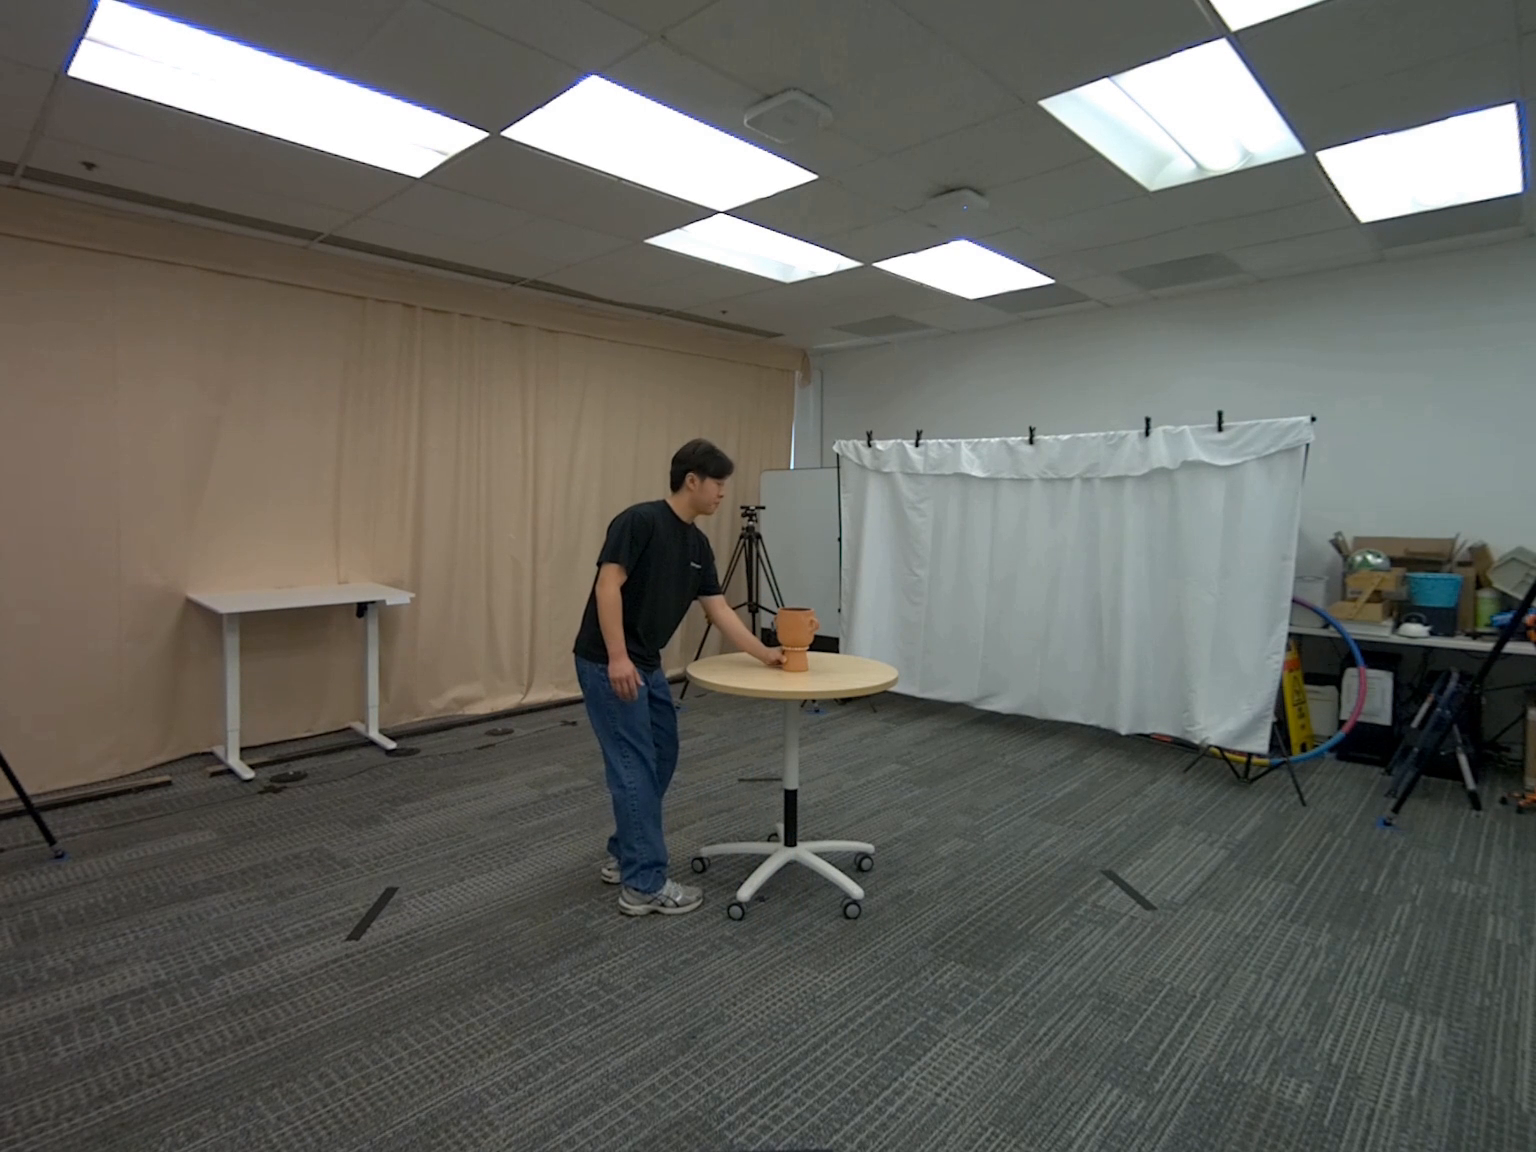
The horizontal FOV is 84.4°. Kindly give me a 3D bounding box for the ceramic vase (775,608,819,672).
[{"bbox_3d":[0.099,0.232,3.044,0.133,0.219,0.161,1,2,-13],"label":"ceramic vase"}]
